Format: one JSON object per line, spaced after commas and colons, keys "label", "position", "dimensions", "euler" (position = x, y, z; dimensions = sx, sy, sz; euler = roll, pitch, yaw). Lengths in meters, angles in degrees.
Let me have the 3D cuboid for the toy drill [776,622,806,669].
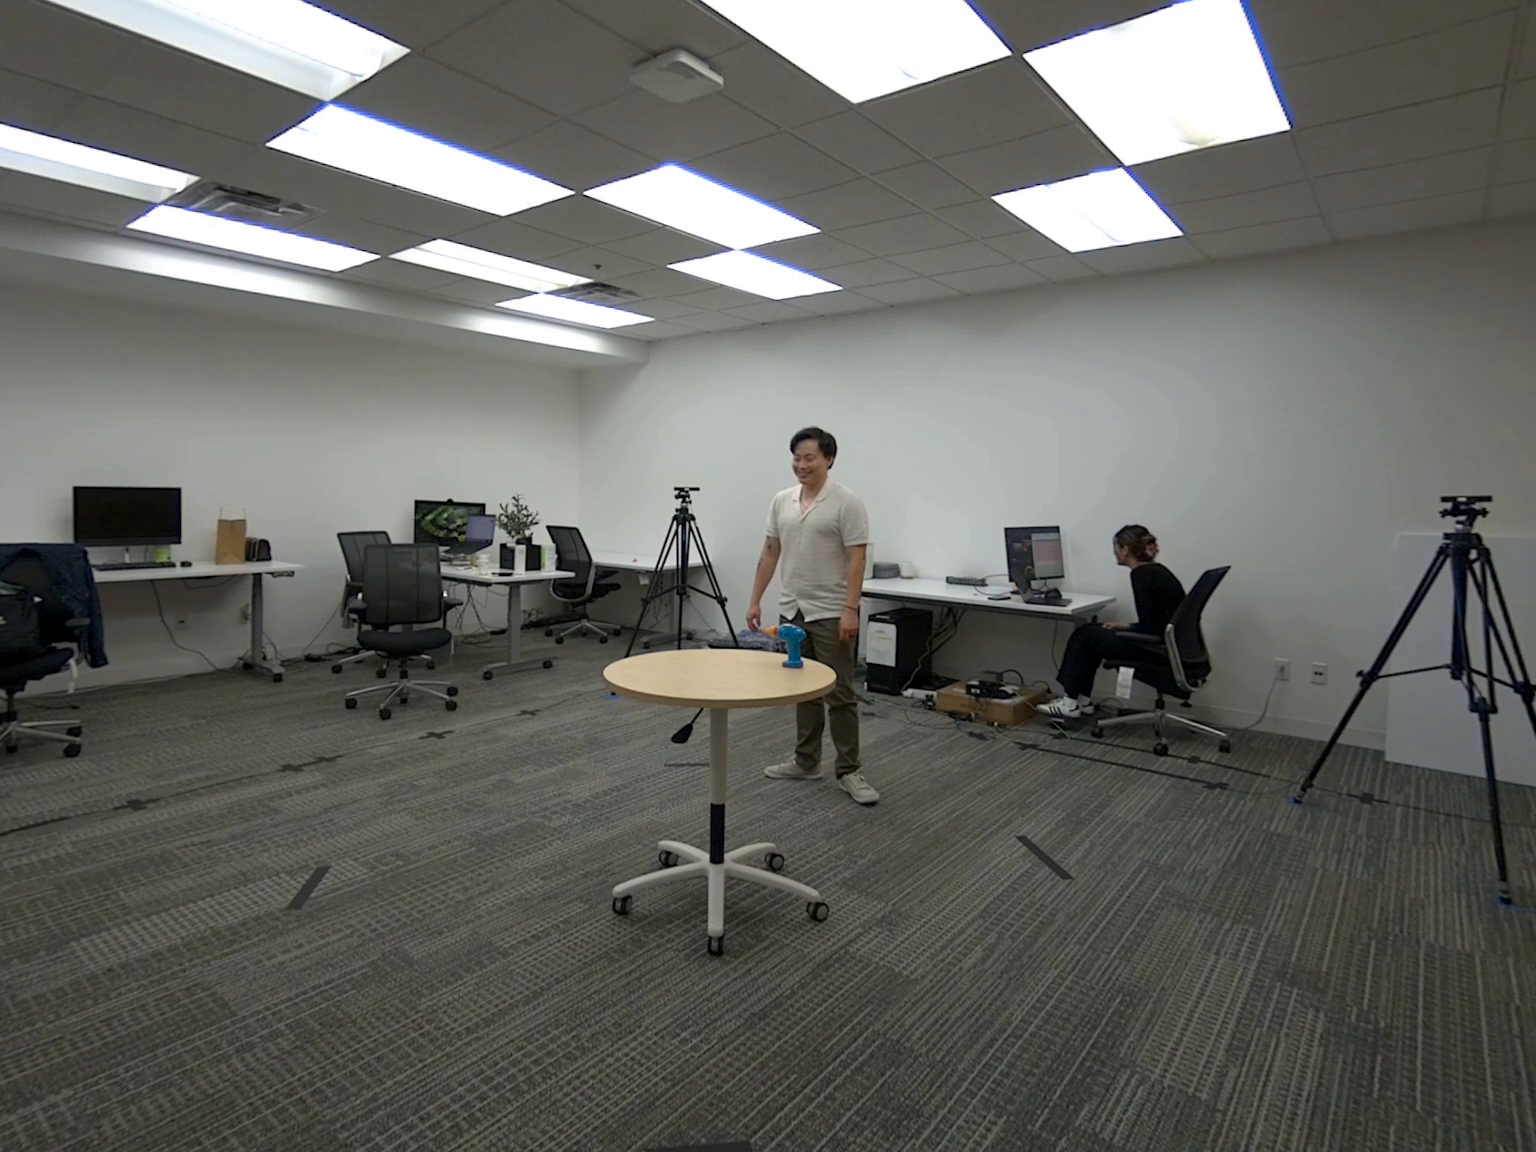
{"label": "toy drill", "position": [0.037, 0.232, 2.912], "dimensions": [0.175, 0.145, 0.060], "euler": [4, 7, 30]}
